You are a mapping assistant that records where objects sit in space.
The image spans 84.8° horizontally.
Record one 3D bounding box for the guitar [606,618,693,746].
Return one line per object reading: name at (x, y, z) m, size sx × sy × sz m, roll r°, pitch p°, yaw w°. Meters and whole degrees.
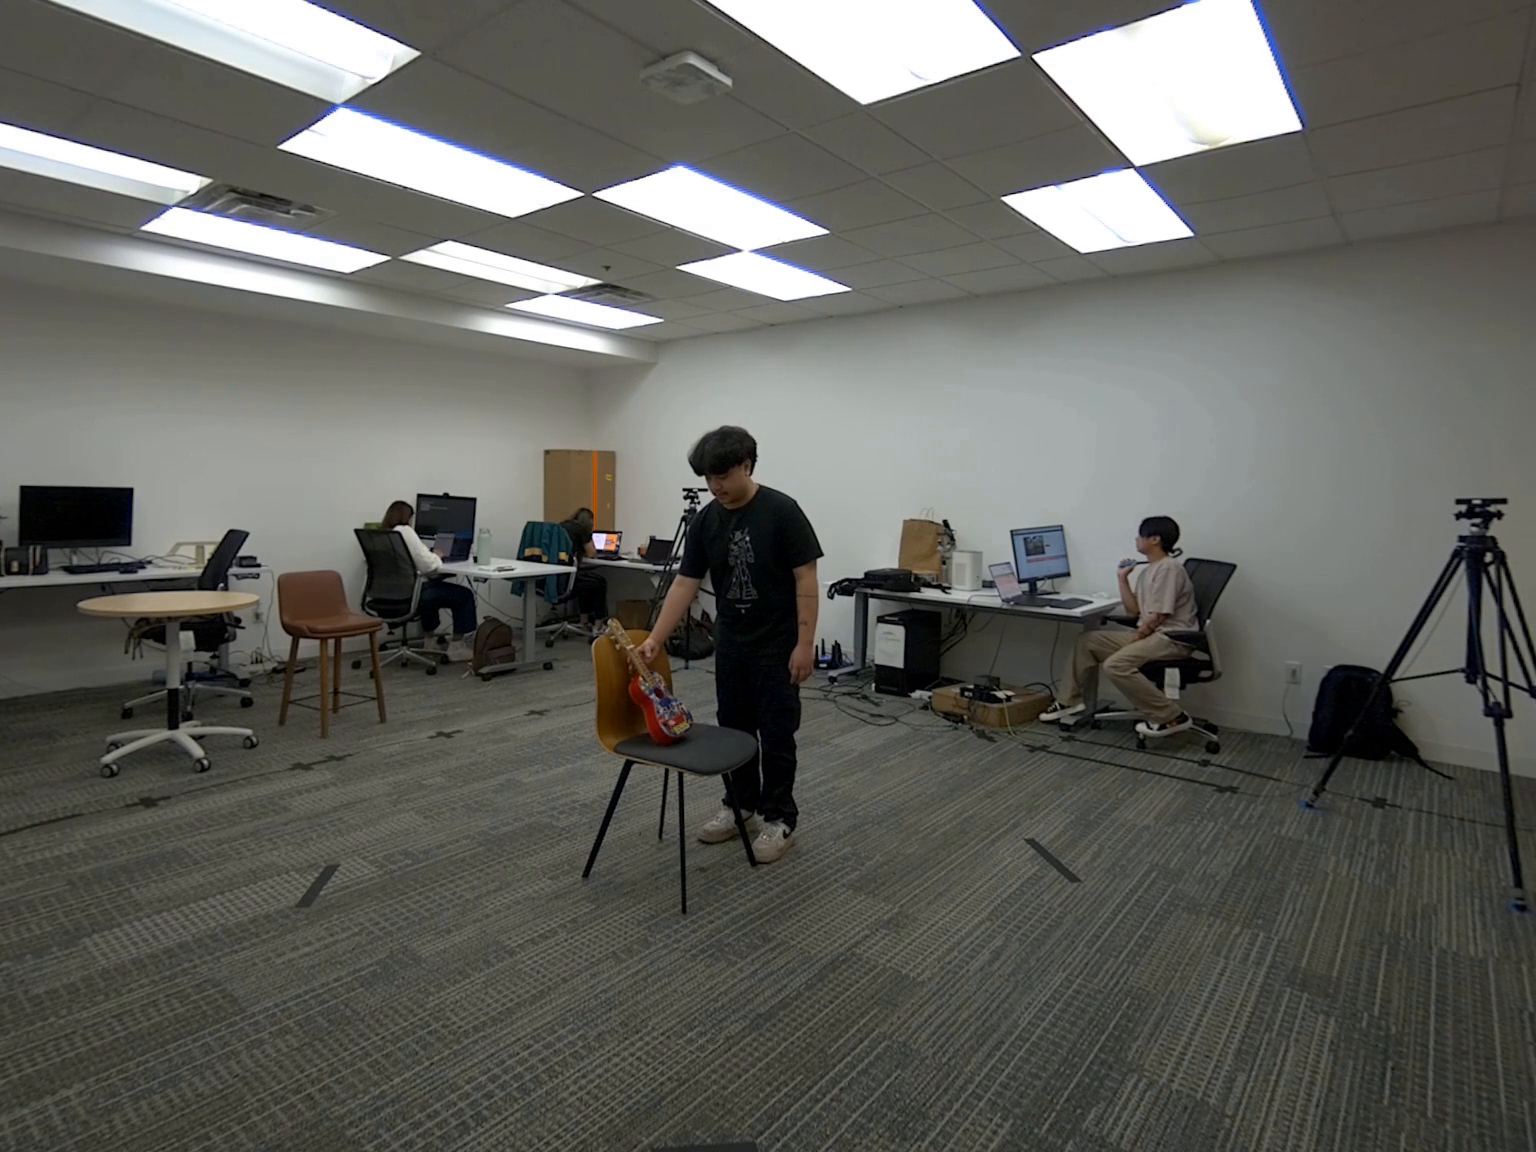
guitar at (-0.454, 0.381, 3.139) m, size 0.071 × 0.509 × 0.188 m, roll -40°, pitch -17°, yaw 24°
